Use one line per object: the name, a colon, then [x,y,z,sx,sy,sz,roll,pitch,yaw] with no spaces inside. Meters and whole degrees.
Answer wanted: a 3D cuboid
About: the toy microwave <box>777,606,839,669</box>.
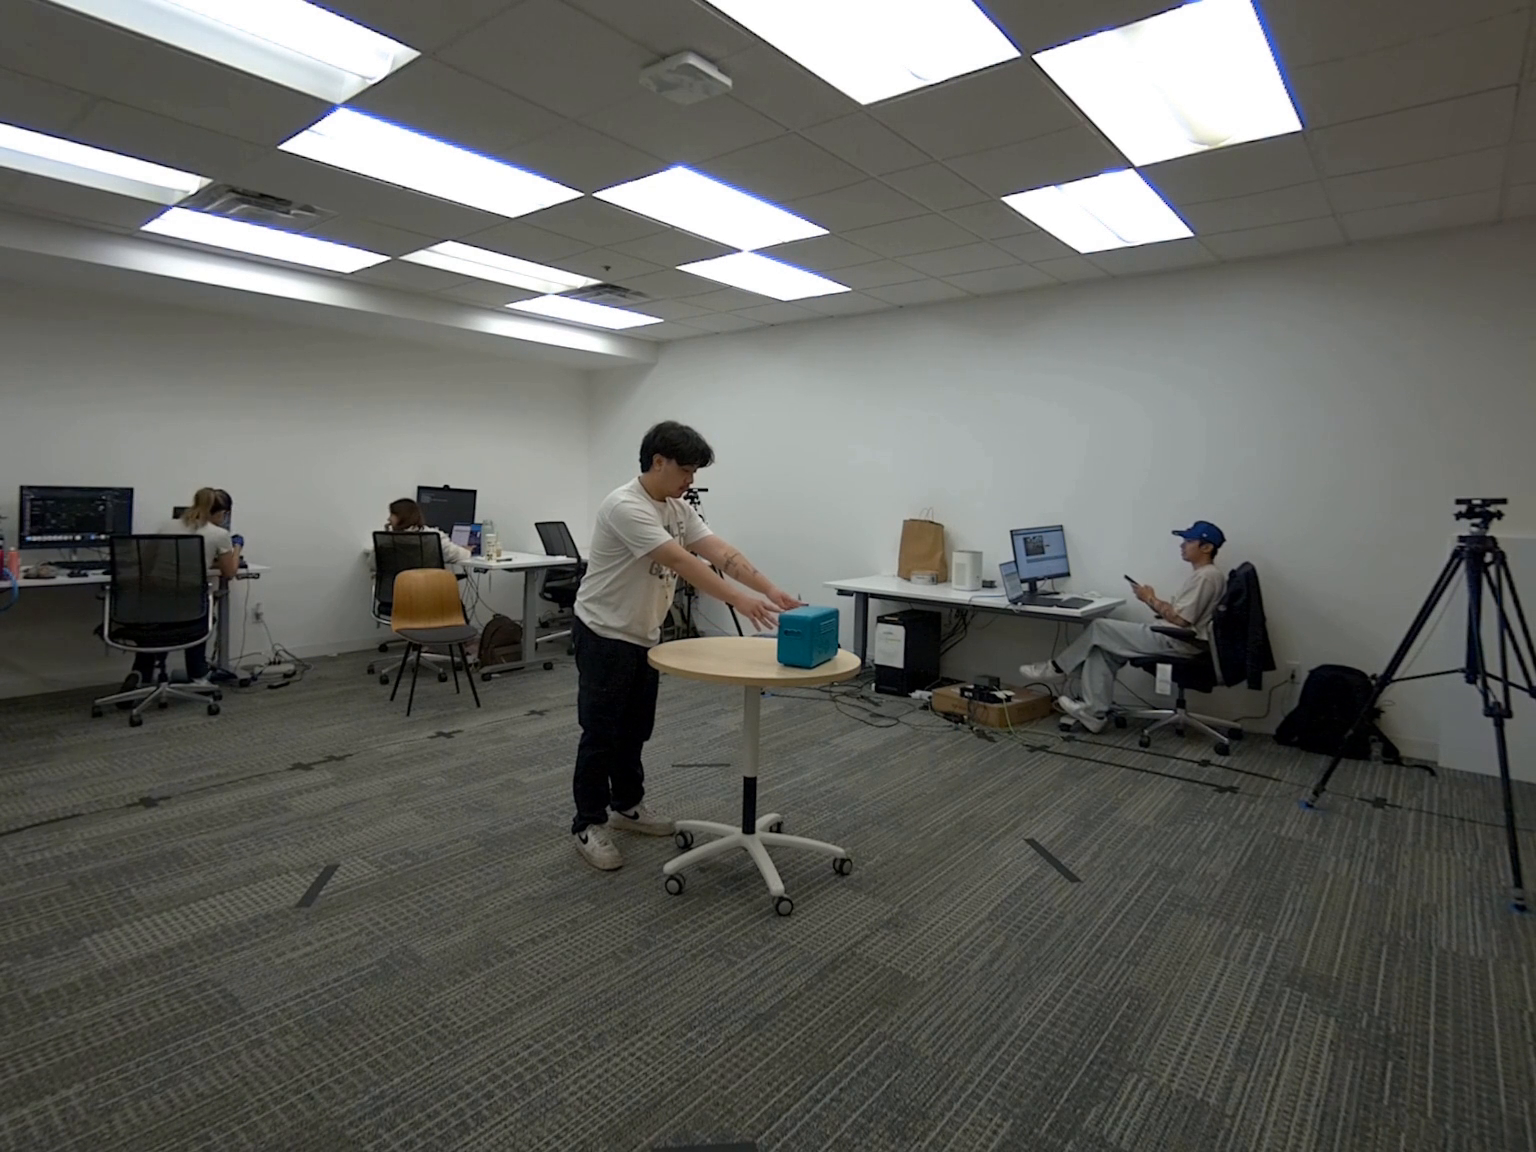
toy microwave: [0.128,0.206,2.985,0.156,0.183,0.280,3,5,25]
